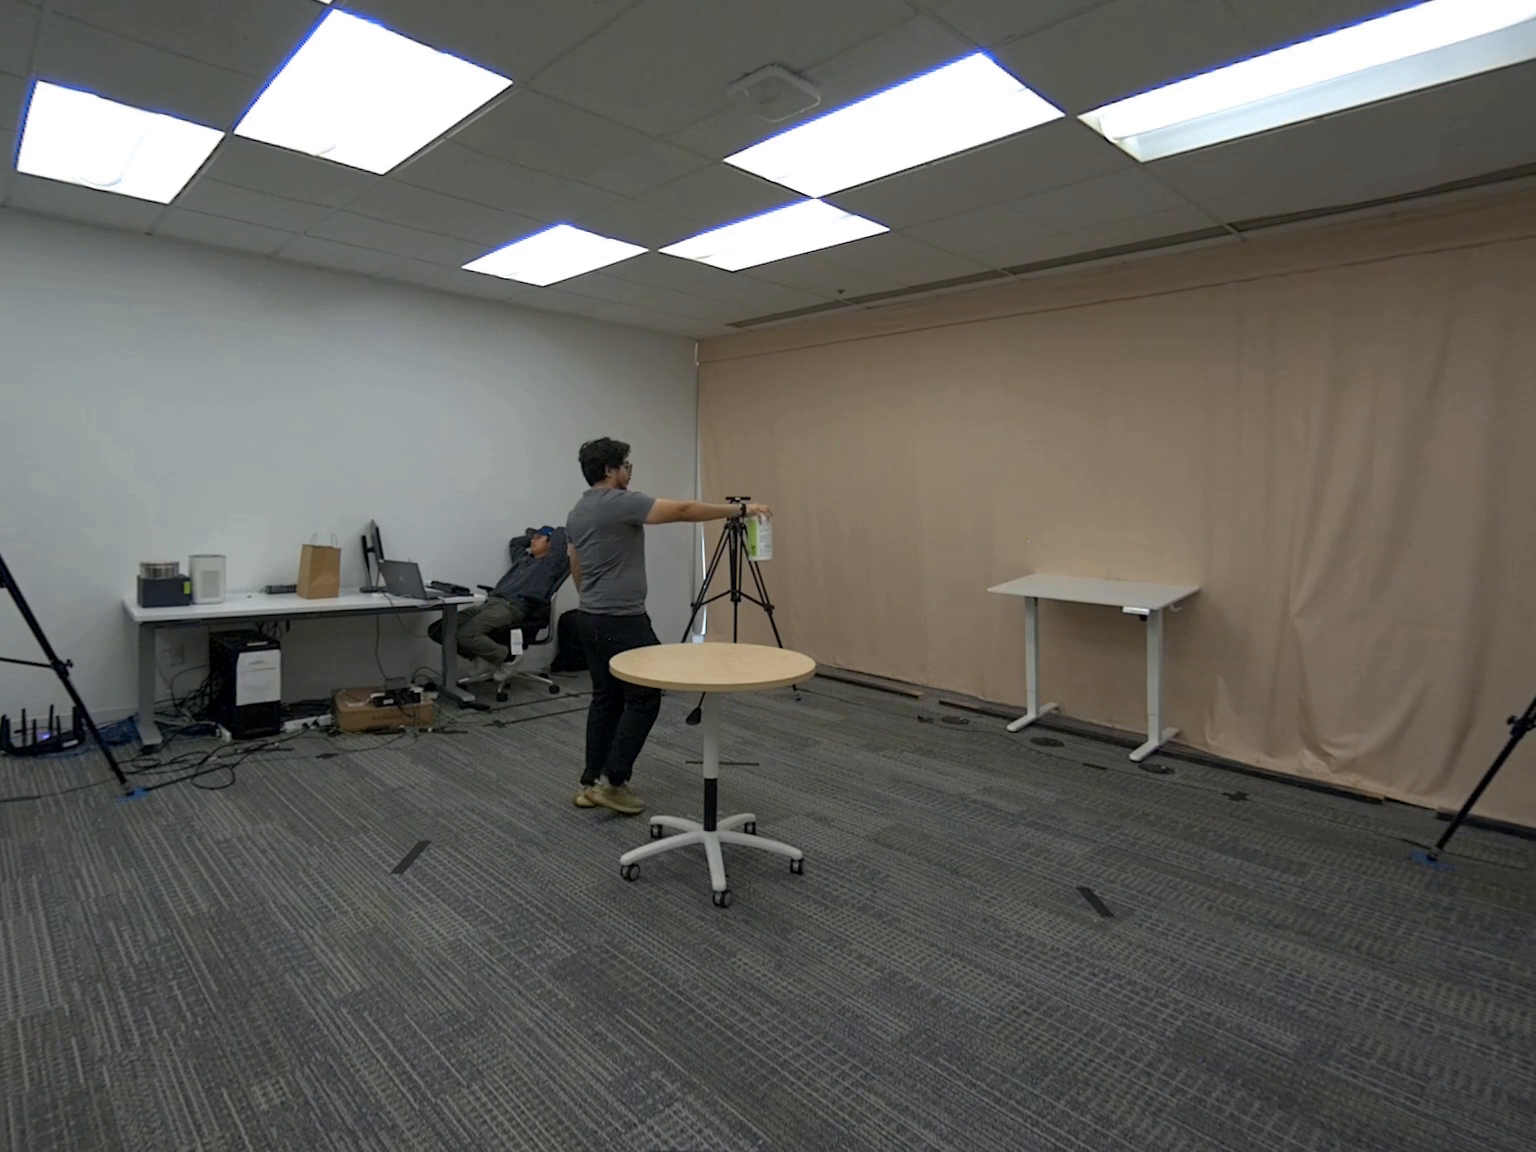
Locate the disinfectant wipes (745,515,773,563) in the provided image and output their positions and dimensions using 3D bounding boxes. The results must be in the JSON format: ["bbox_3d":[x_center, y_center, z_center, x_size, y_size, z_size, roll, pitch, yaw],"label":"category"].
[{"bbox_3d":[-0.048,-0.177,3.816,0.118,0.217,0.118,-1,2,-1],"label":"disinfectant wipes"}]
